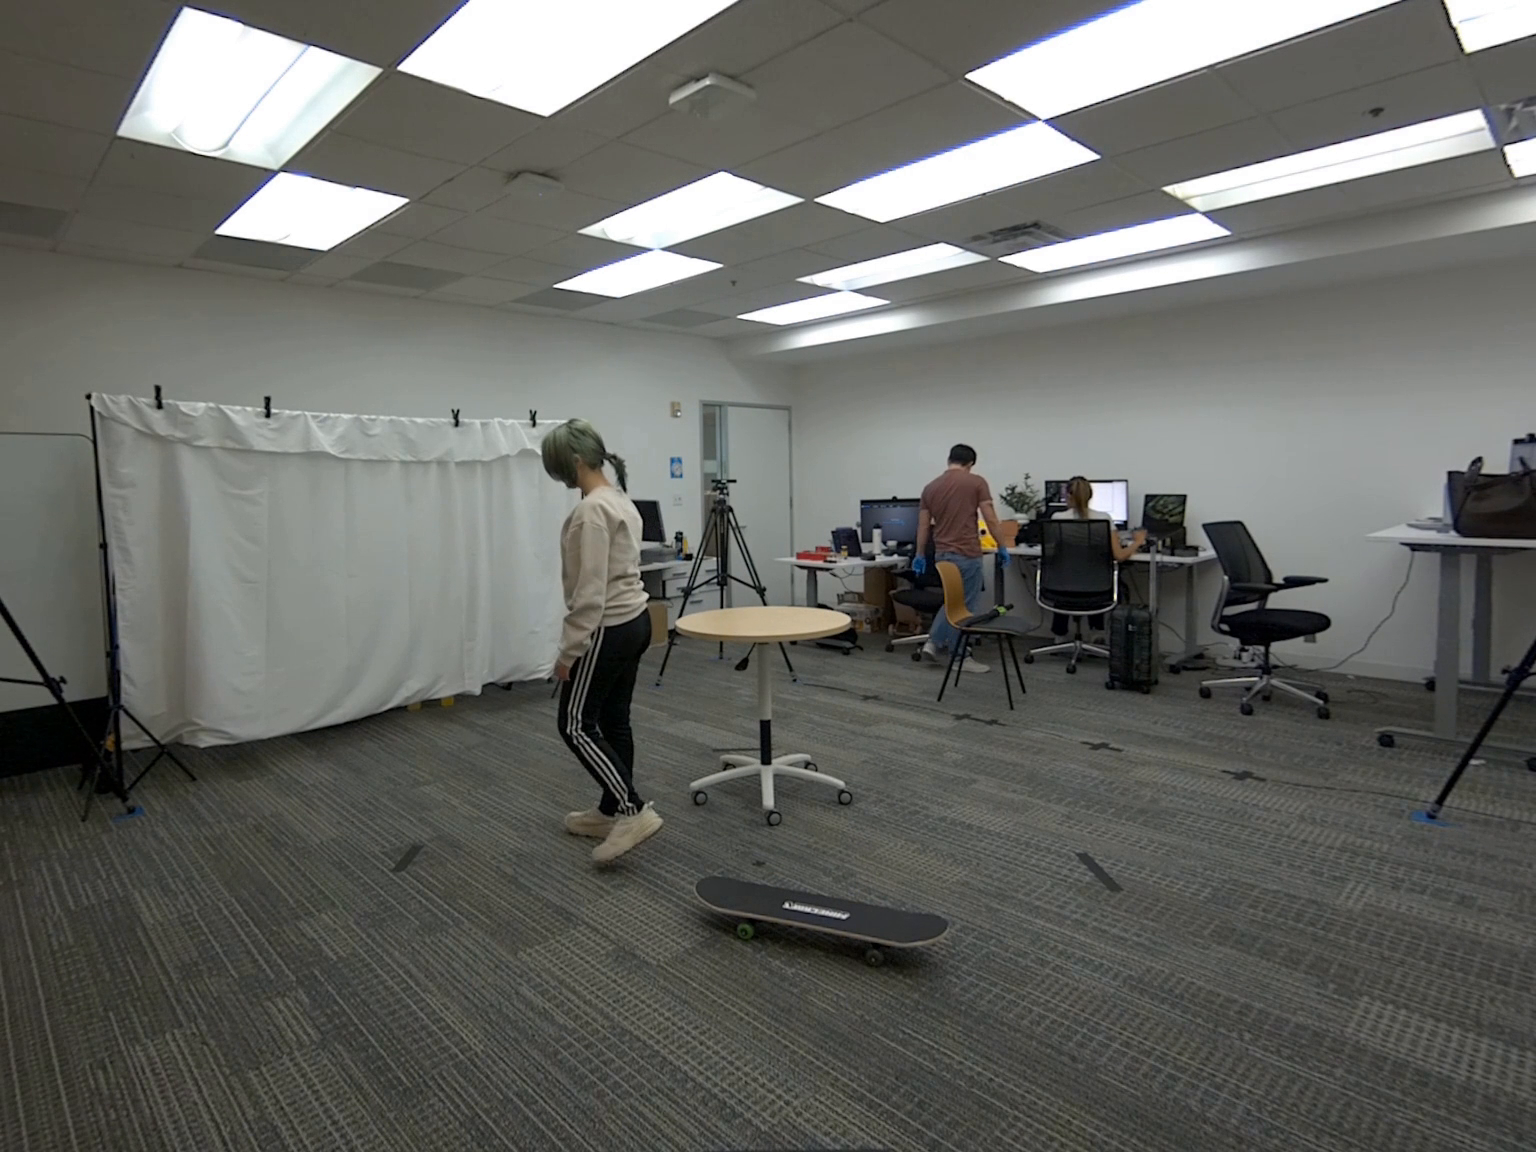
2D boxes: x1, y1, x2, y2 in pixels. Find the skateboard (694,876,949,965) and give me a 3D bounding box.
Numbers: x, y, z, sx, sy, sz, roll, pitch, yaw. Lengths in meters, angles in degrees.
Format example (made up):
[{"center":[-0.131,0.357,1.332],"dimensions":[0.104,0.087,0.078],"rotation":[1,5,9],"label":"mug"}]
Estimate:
[{"center":[0.153,1.045,2.586],"dimensions":[0.802,0.110,0.190],"rotation":[1,6,23],"label":"skateboard"}]
